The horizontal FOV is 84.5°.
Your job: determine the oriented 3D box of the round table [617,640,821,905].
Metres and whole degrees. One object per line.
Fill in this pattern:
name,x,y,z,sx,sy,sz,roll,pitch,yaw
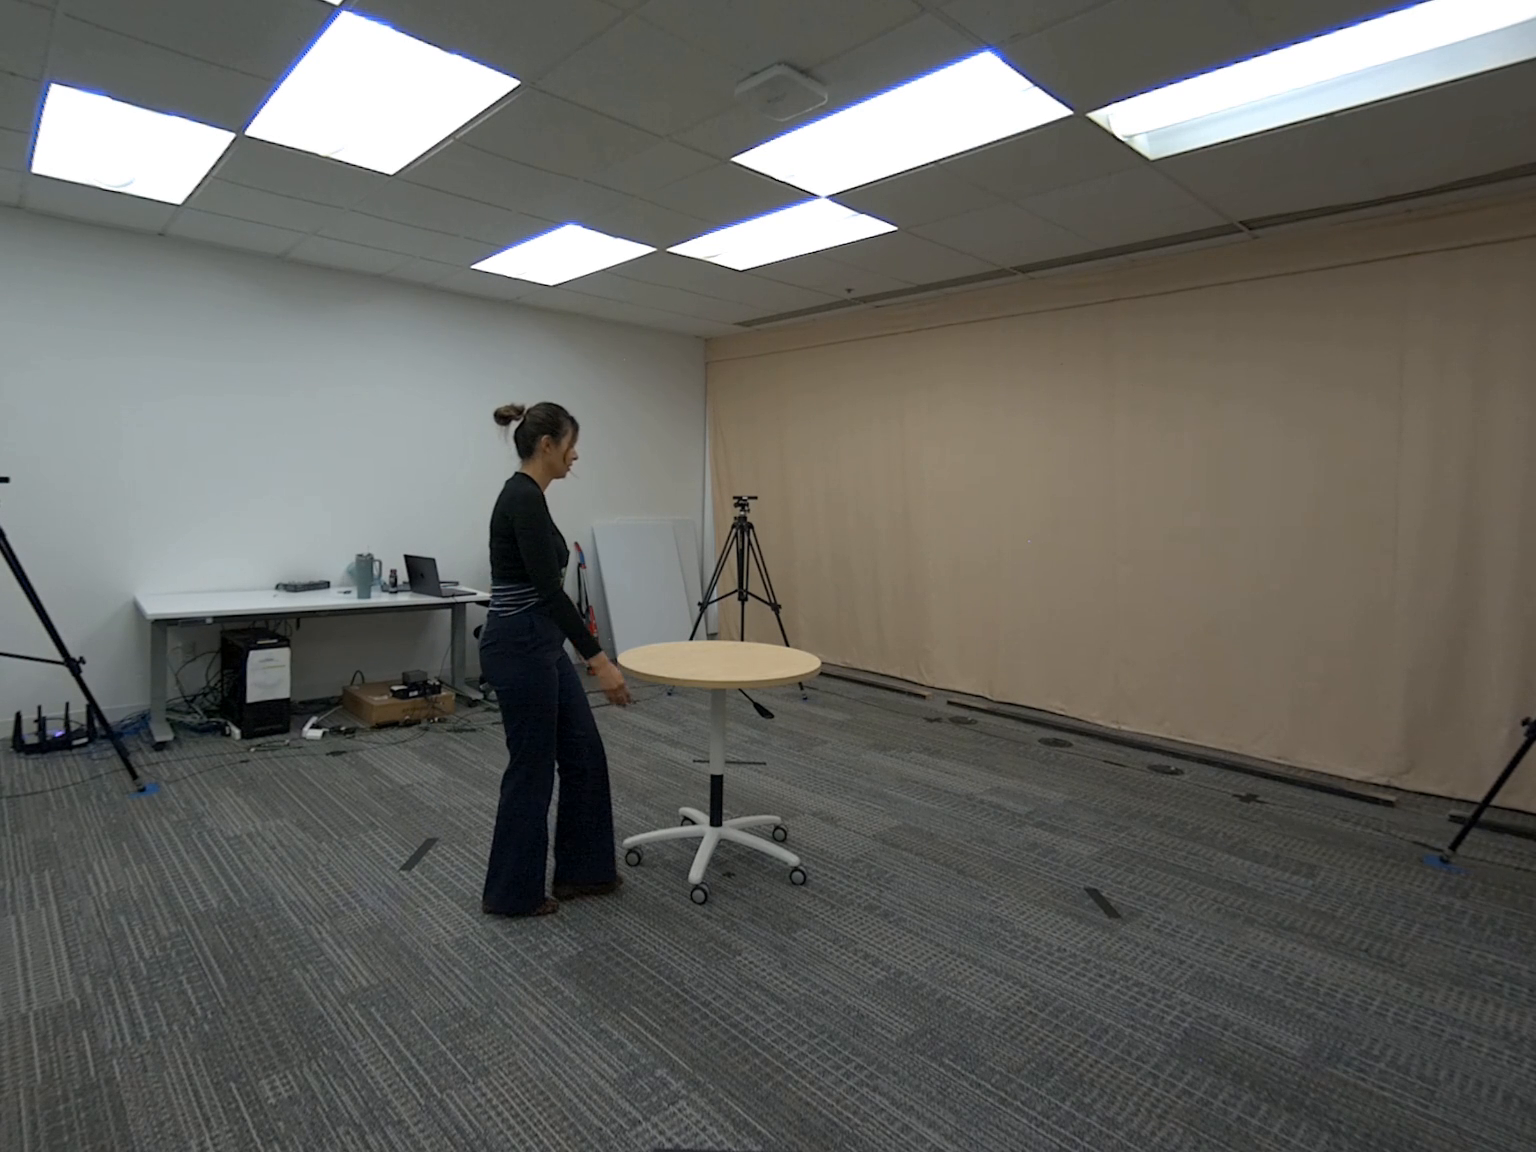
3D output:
round table,-0.197,0.704,3.195,0.763,0.792,0.766,1,4,-1
